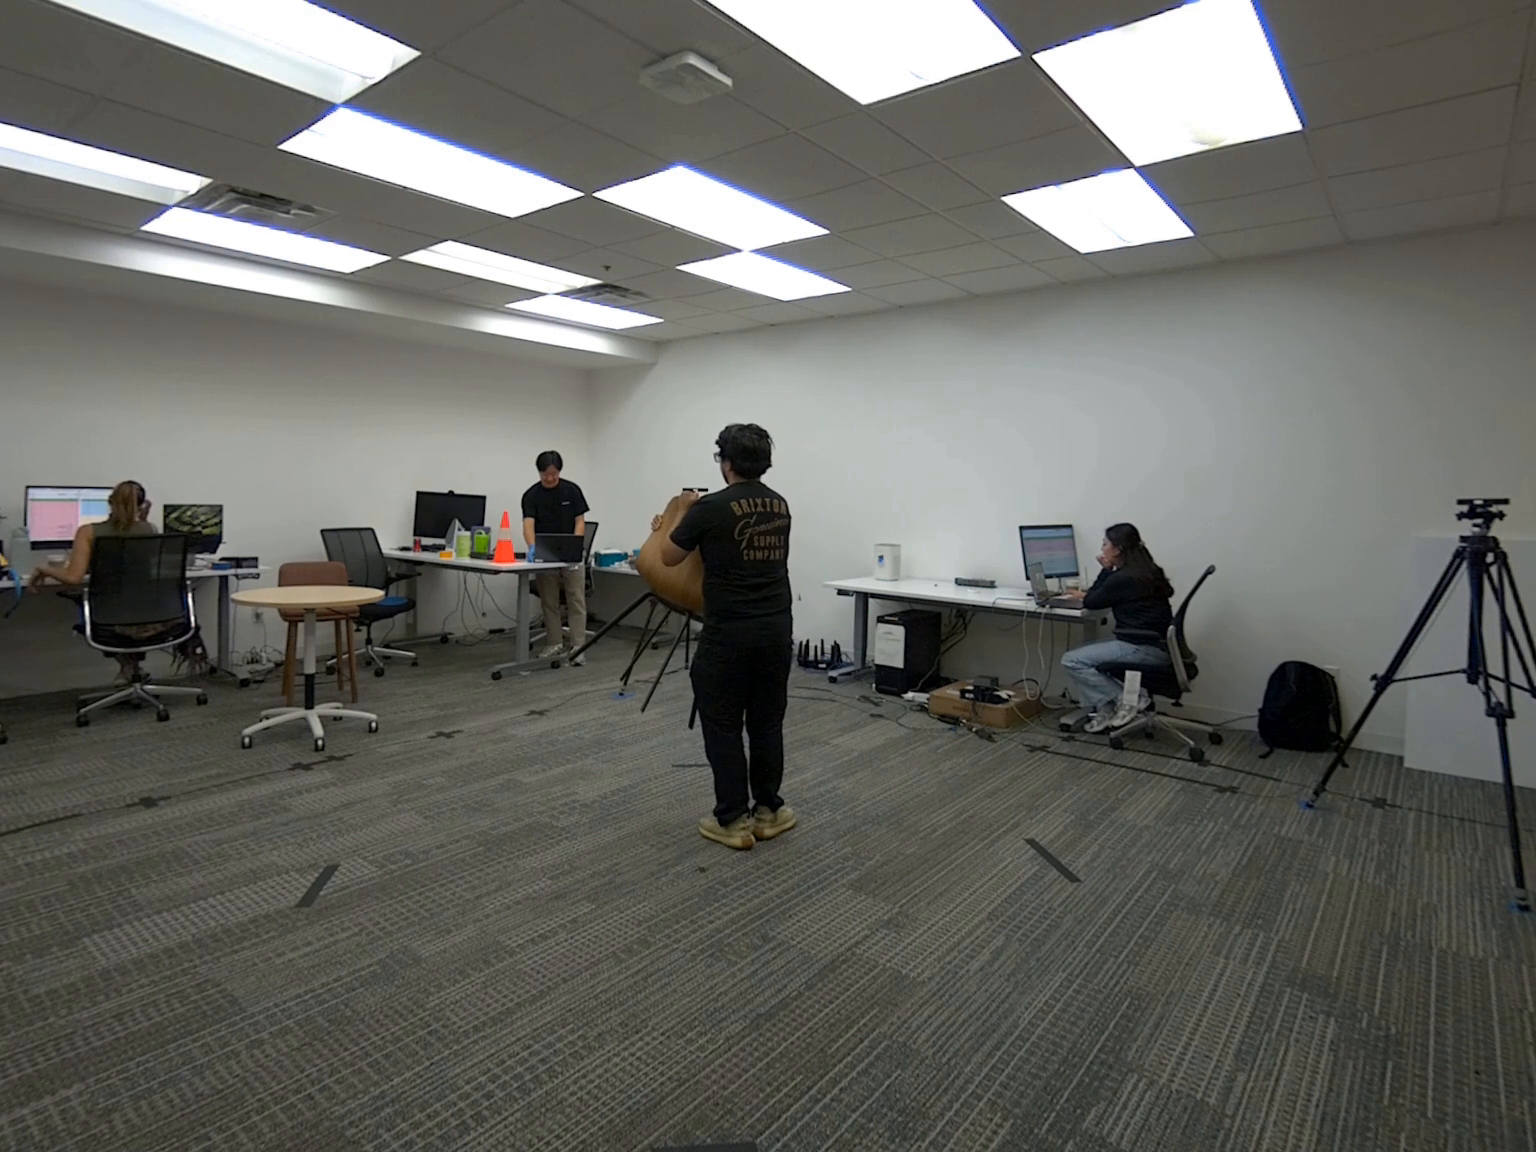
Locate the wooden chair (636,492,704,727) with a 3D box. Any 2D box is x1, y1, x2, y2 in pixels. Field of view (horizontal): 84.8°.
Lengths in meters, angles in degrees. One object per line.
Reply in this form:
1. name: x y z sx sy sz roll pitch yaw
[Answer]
1. wooden chair: -0.395 0.141 3.699 0.495 0.878 0.504 26 -3 29
